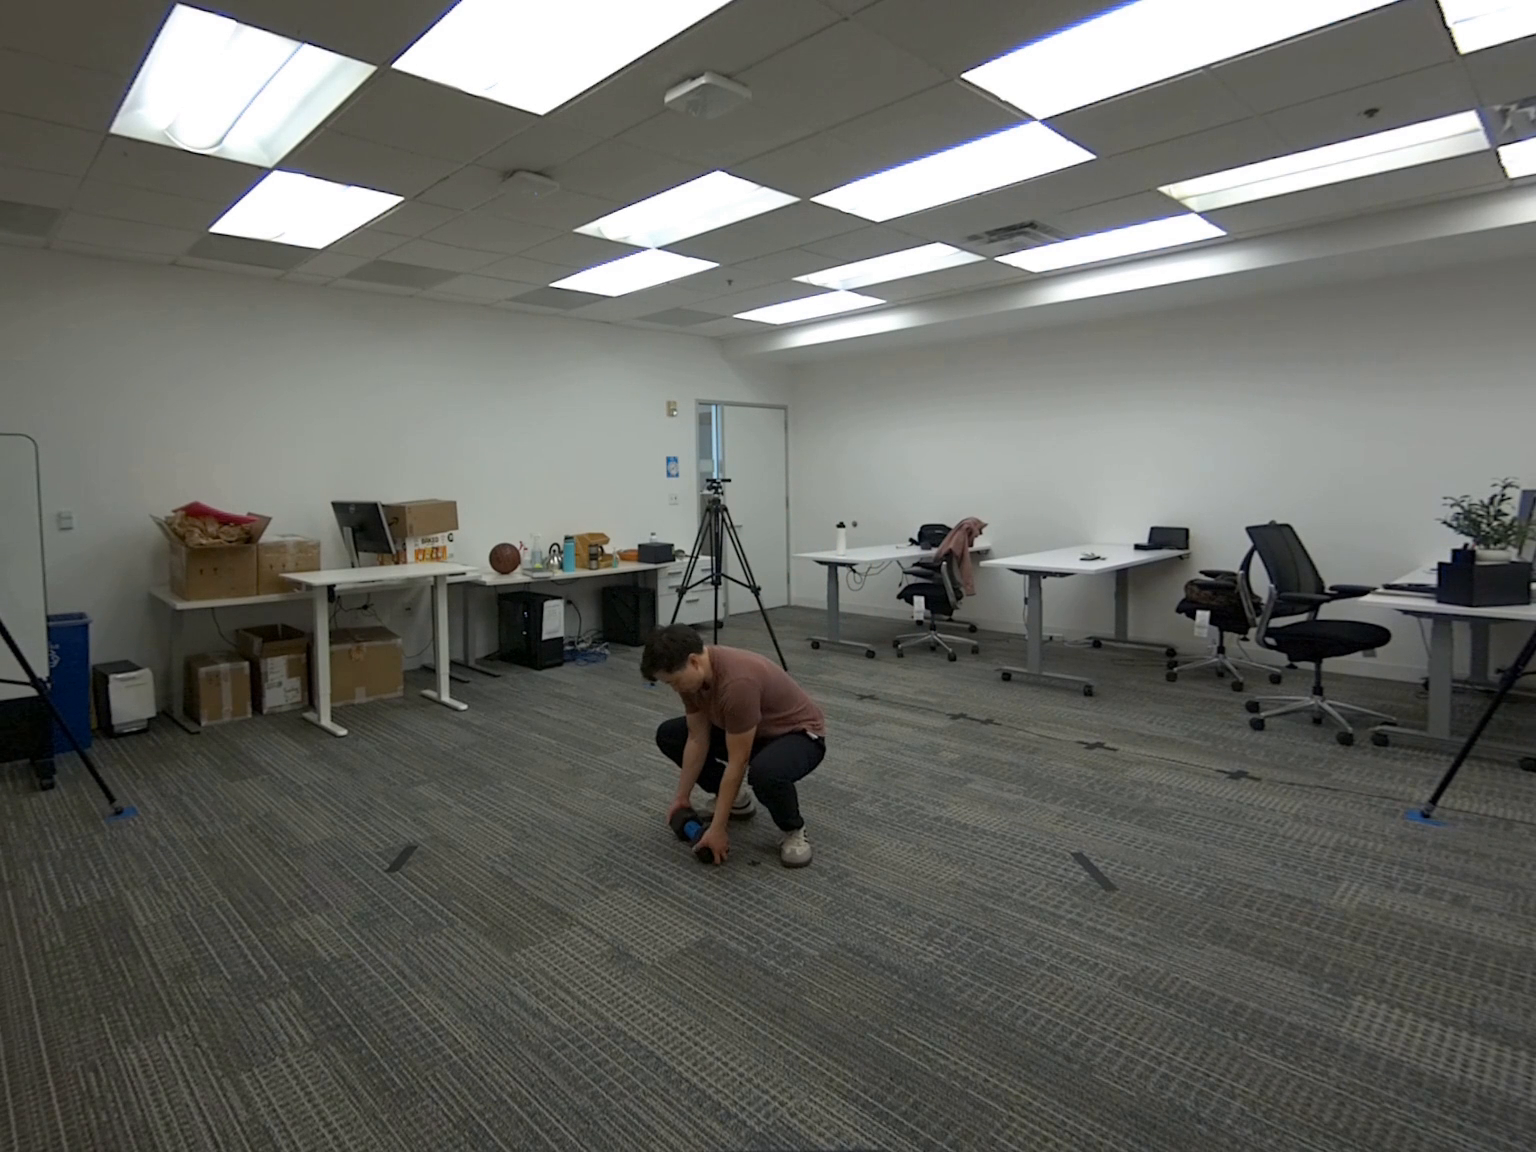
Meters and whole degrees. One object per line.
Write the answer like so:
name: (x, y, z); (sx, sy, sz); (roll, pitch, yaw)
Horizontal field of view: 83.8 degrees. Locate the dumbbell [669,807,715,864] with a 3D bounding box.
dumbbell: (-0.273, 0.984, 3.245); (0.108, 0.121, 0.300); (-36, 17, -17)
